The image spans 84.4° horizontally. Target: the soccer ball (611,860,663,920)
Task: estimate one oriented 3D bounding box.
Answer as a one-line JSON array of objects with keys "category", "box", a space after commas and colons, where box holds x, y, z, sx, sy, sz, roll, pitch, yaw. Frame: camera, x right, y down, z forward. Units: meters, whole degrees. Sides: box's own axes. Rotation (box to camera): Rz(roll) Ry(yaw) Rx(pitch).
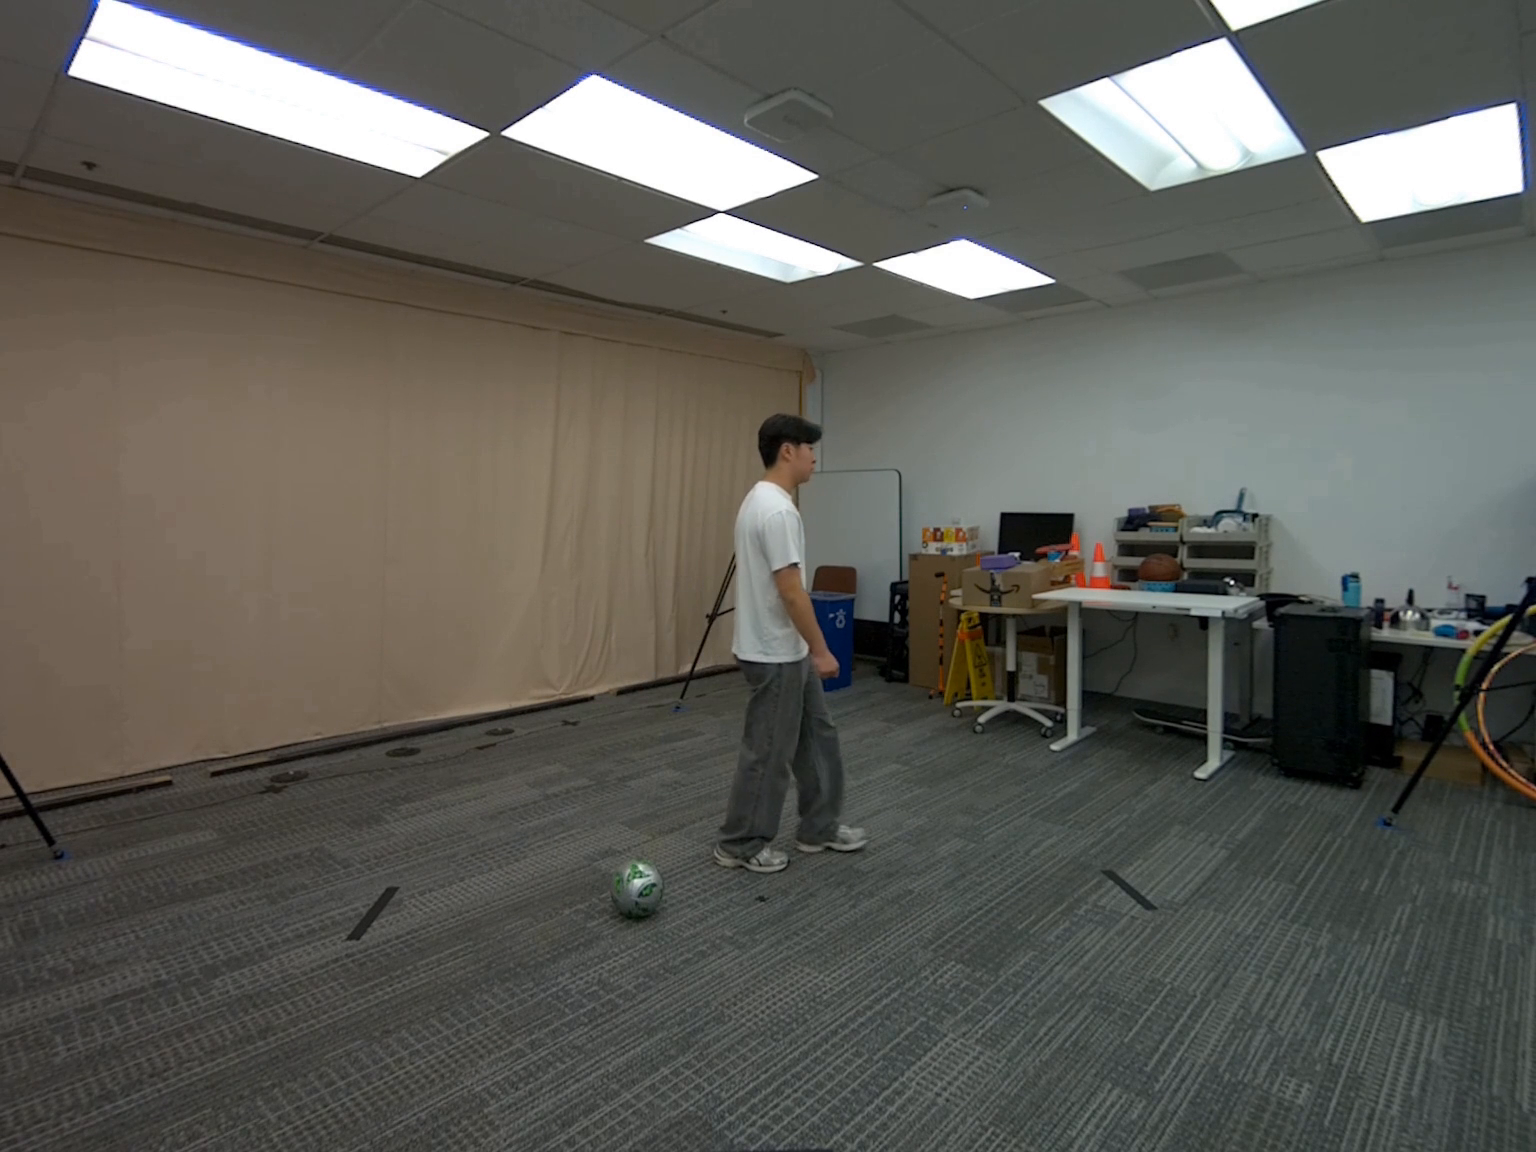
[{"category": "soccer ball", "box": [-0.442, 1.064, 2.869, 0.187, 0.187, 0.188, 0, 4, -2]}]
